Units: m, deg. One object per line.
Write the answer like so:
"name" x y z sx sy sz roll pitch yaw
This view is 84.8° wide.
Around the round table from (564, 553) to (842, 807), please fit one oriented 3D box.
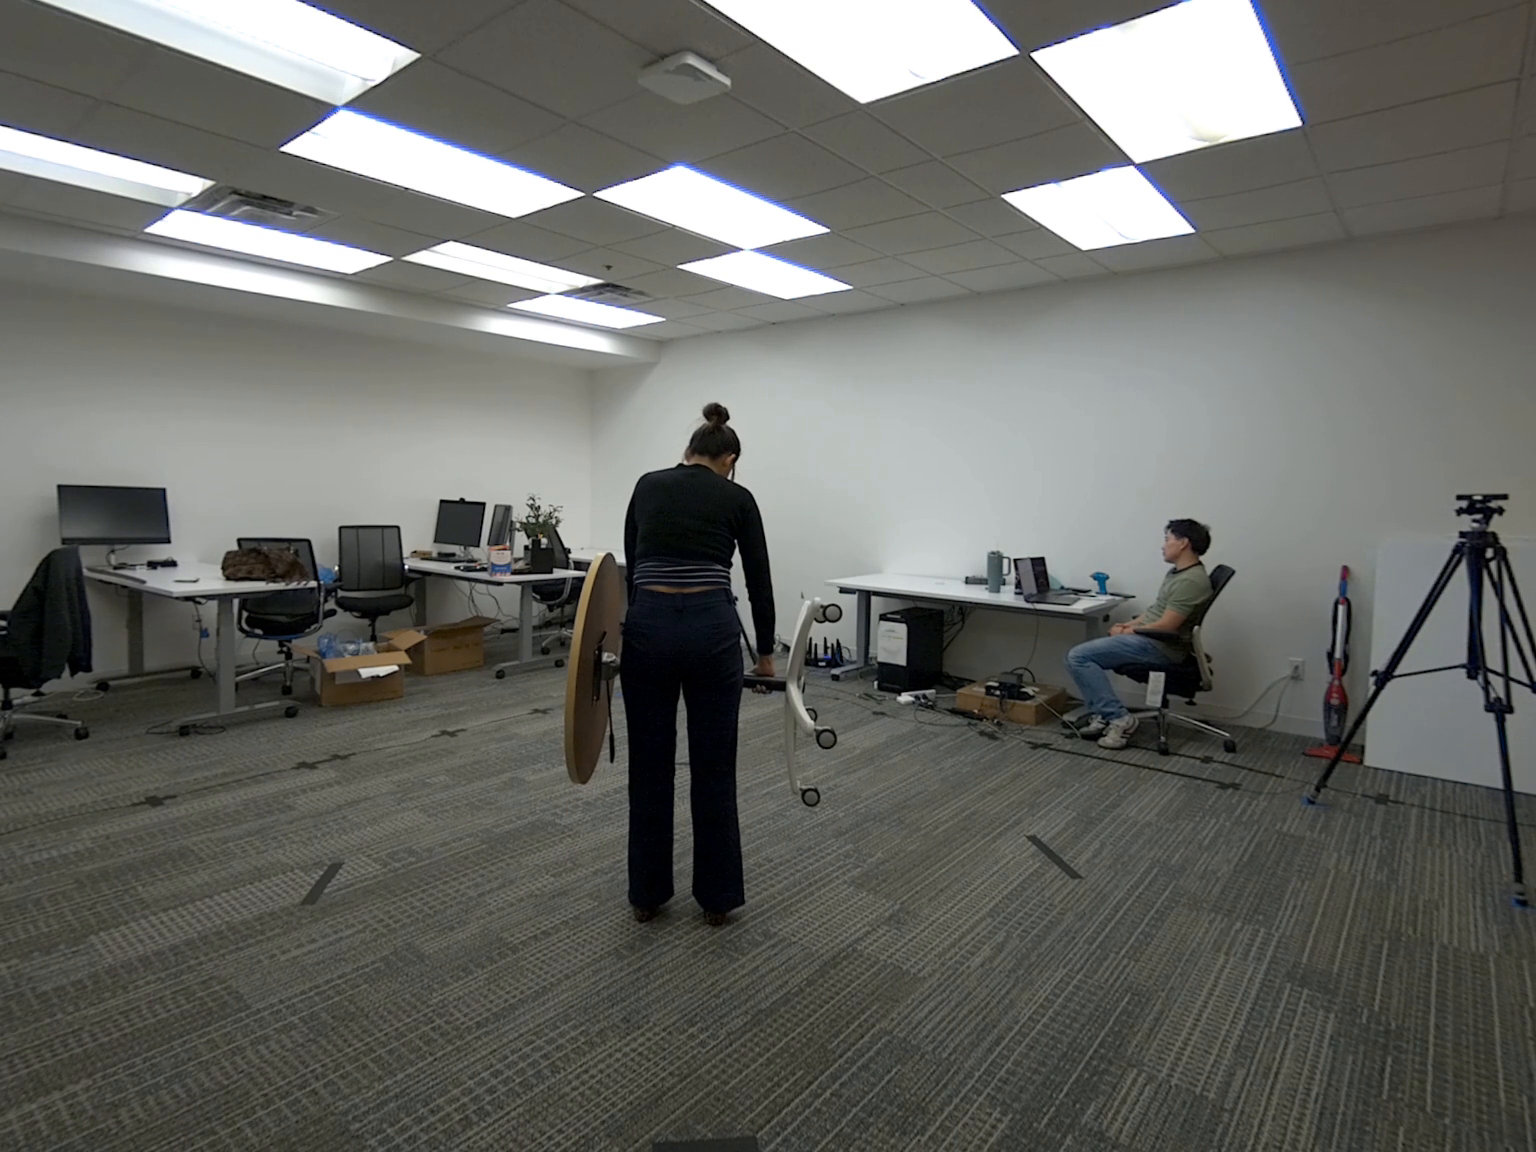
"round table" -0.203 0.342 2.838 0.795 0.762 0.766 6 4 0
